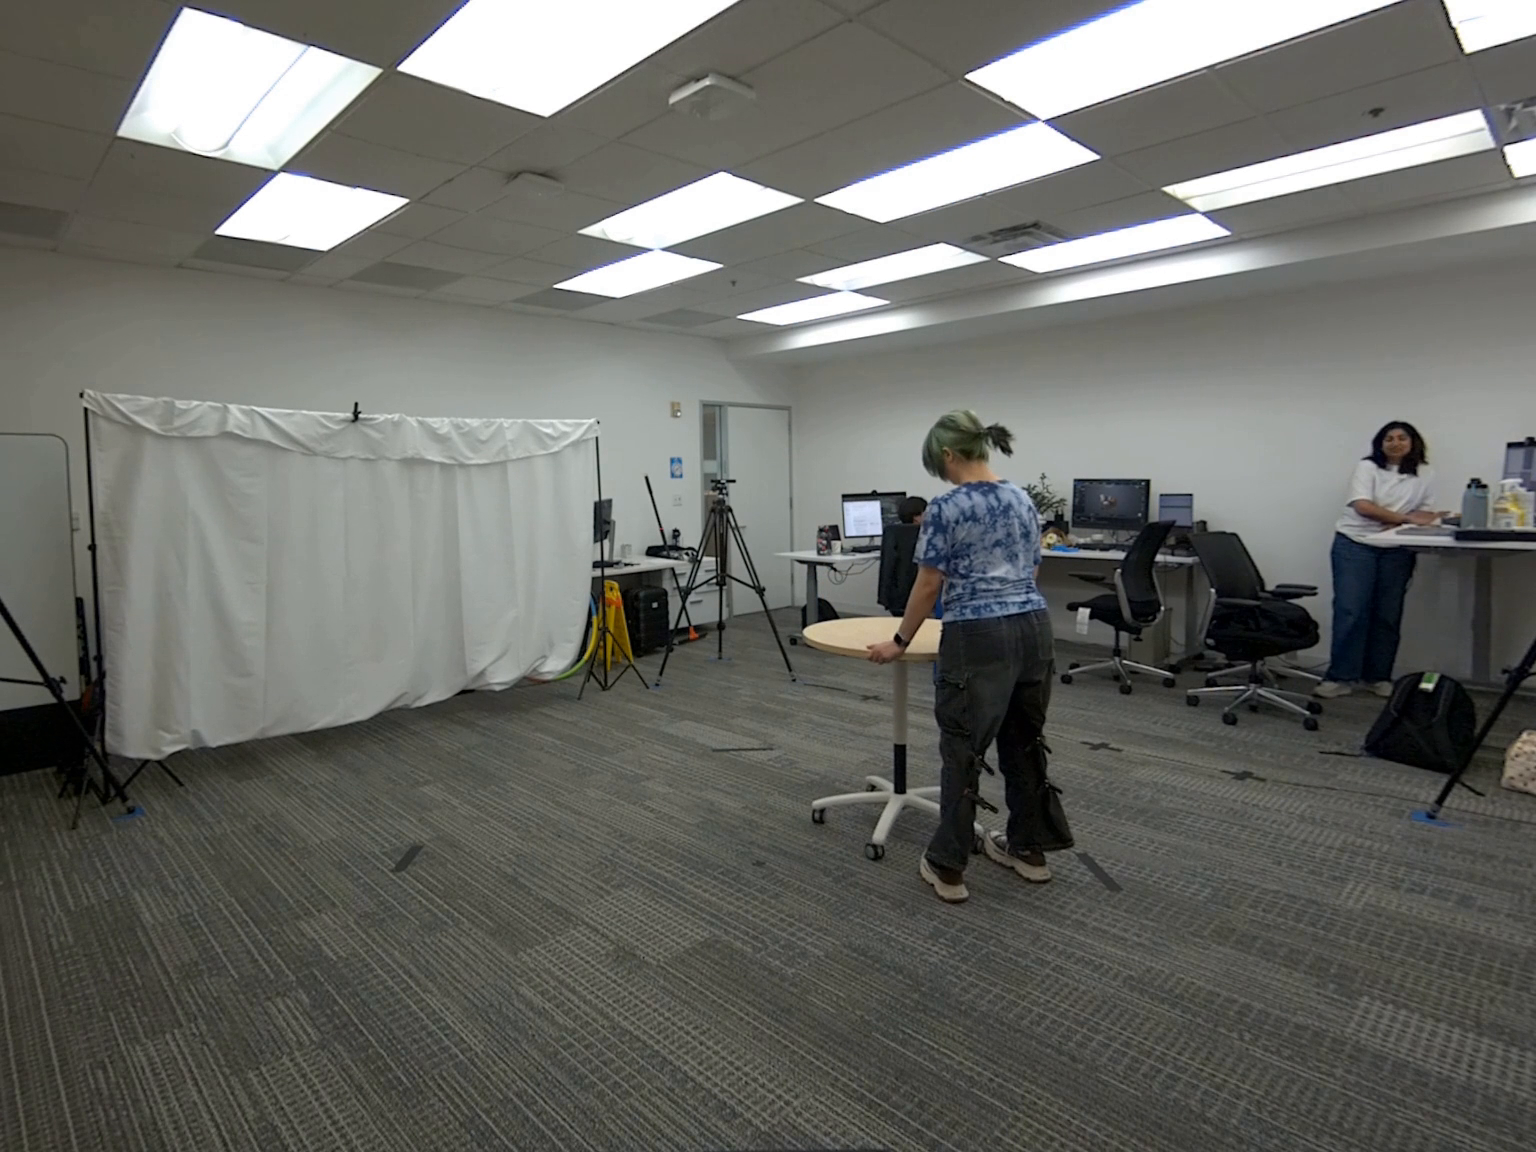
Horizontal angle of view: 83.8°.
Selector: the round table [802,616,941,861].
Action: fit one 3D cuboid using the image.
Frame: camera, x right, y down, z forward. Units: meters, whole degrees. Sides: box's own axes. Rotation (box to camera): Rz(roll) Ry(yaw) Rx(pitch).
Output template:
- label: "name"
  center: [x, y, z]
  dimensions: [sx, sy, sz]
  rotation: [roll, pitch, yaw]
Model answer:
- label: "round table"
  center: [0.526, 0.617, 3.397]
  dimensions: [0.763, 0.791, 0.768]
  rotation: [-1, 5, -2]
